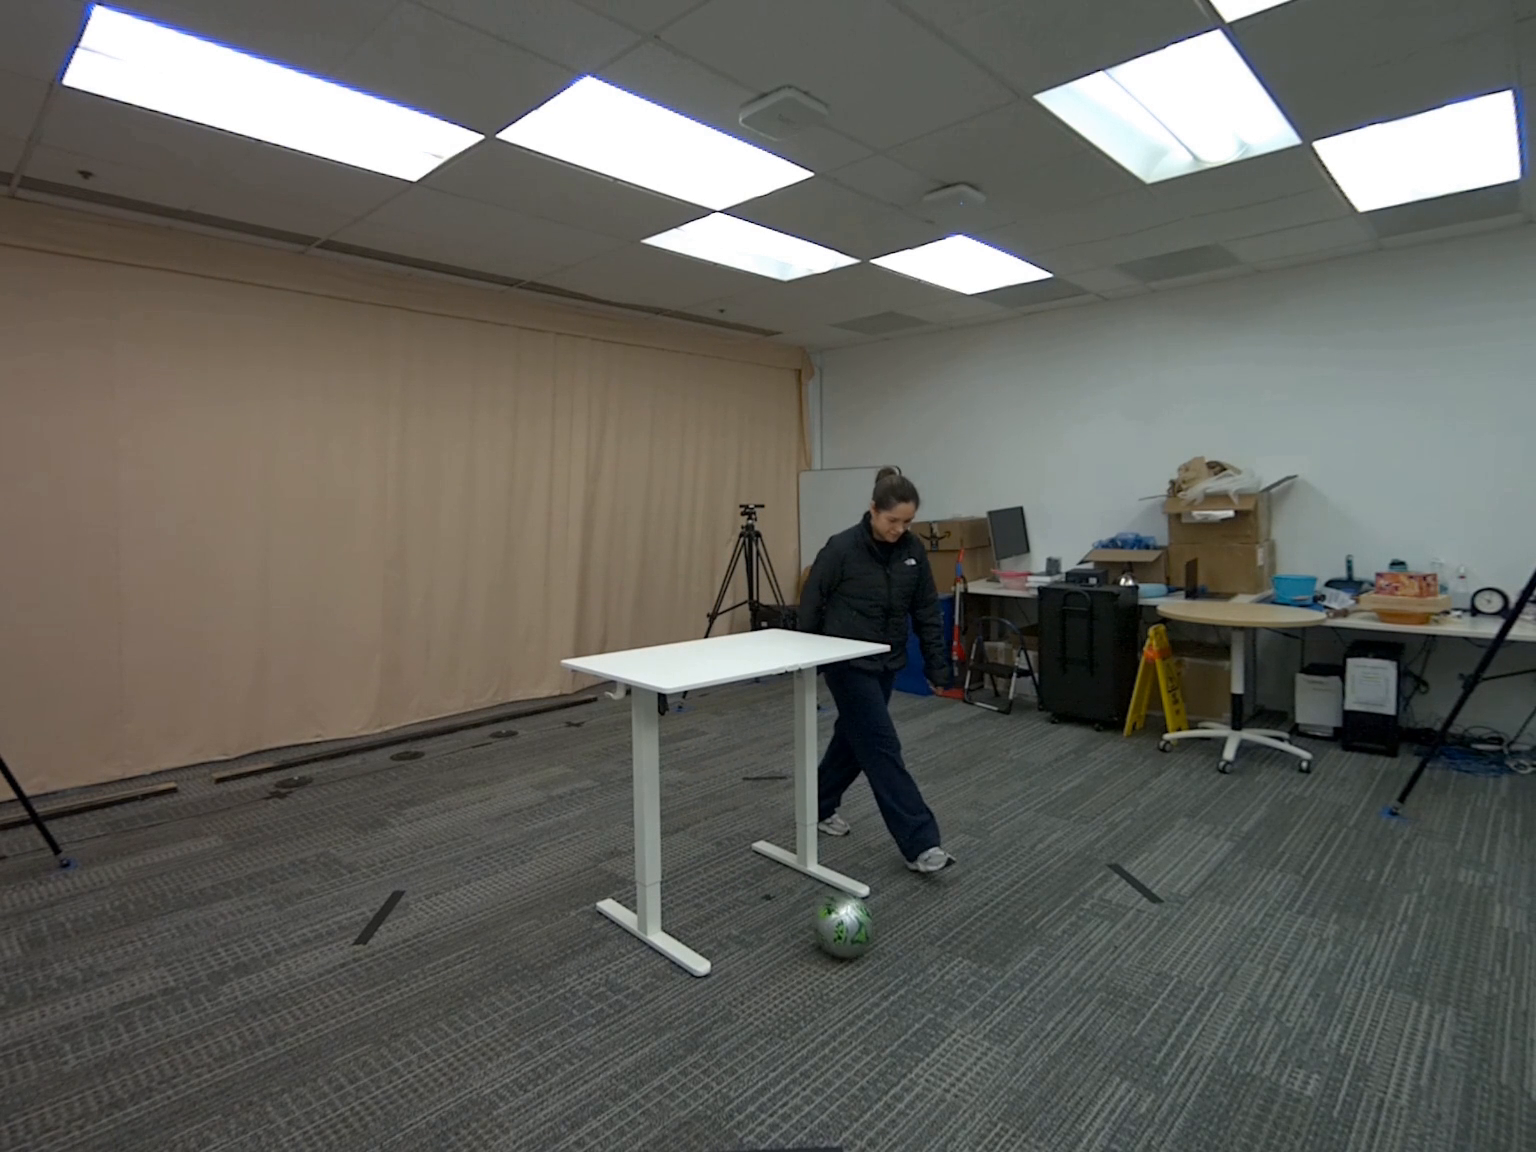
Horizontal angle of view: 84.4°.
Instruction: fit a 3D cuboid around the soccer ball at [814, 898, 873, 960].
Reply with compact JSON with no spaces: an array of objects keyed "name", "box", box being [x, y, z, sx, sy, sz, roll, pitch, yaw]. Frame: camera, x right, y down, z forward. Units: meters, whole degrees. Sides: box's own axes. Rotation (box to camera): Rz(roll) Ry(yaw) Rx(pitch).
[{"name":"soccer ball","box":[0.241,1.075,2.589,0.187,0.187,0.188,-1,4,-2]}]
